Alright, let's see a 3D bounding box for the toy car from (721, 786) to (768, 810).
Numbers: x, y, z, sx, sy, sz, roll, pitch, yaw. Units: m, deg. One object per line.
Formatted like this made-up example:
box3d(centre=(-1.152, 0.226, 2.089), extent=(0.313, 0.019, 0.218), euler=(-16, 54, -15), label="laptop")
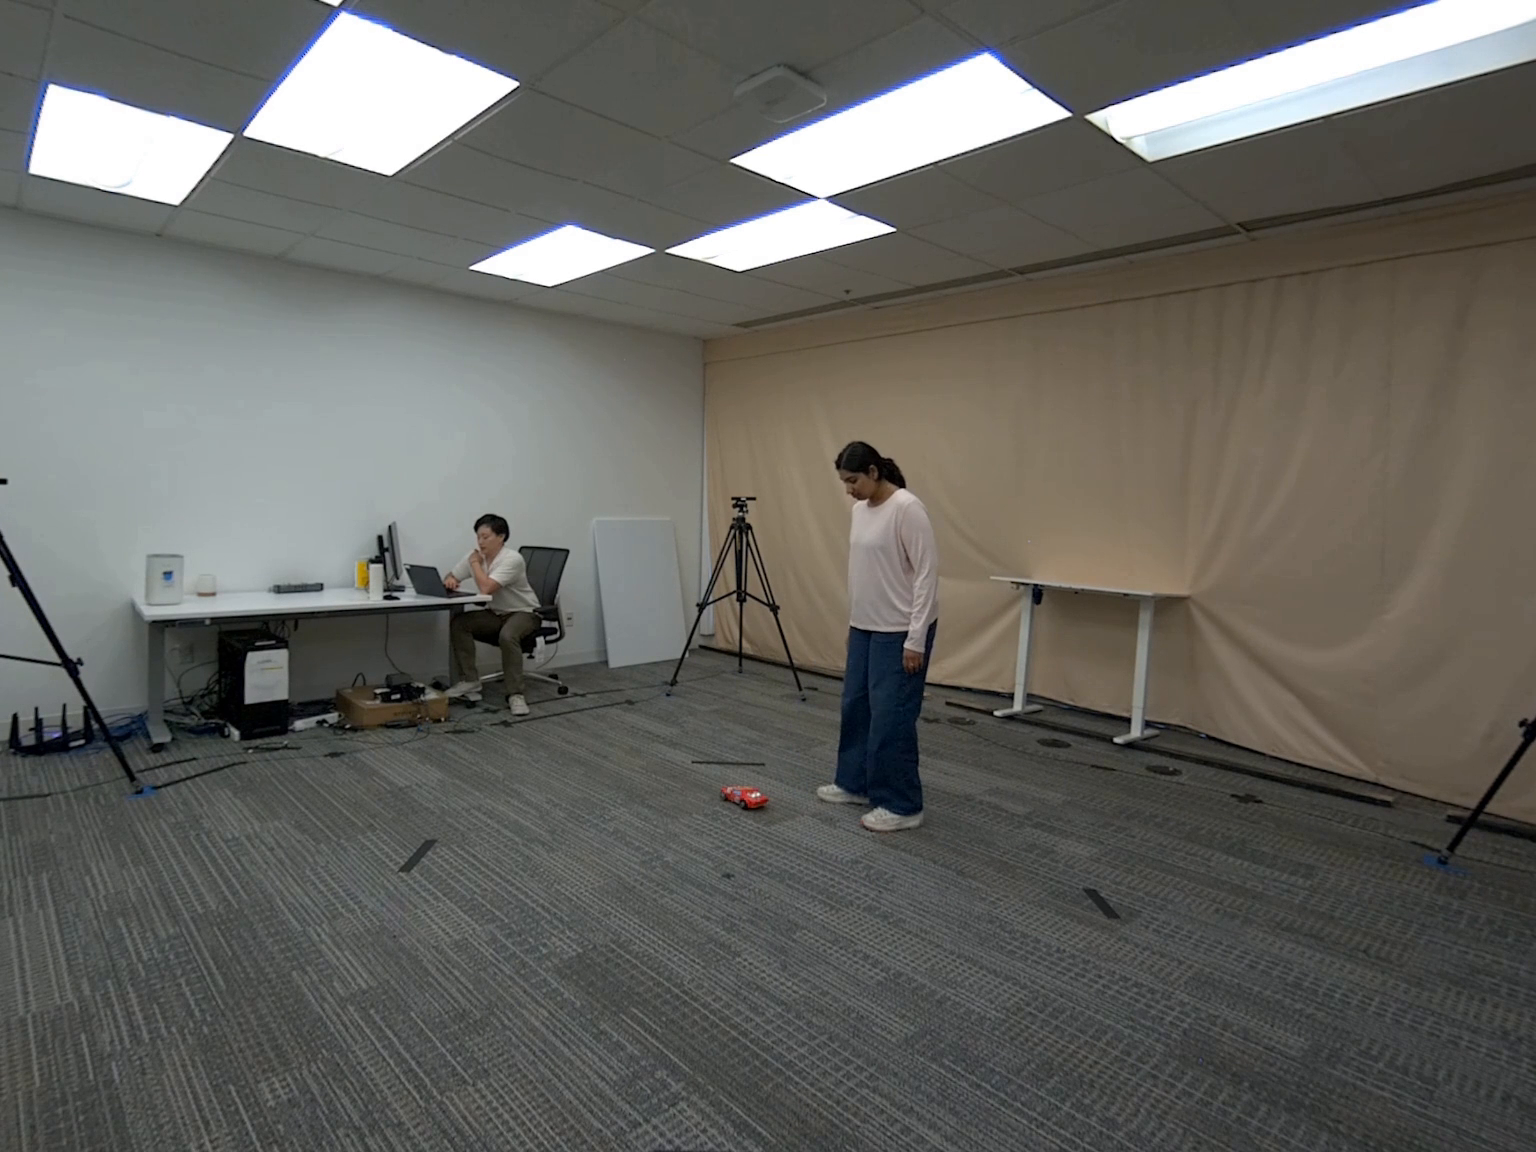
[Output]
box3d(centre=(-0.112, 1.006, 3.850), extent=(0.127, 0.083, 0.259), euler=(-1, -6, -40), label="toy car")
